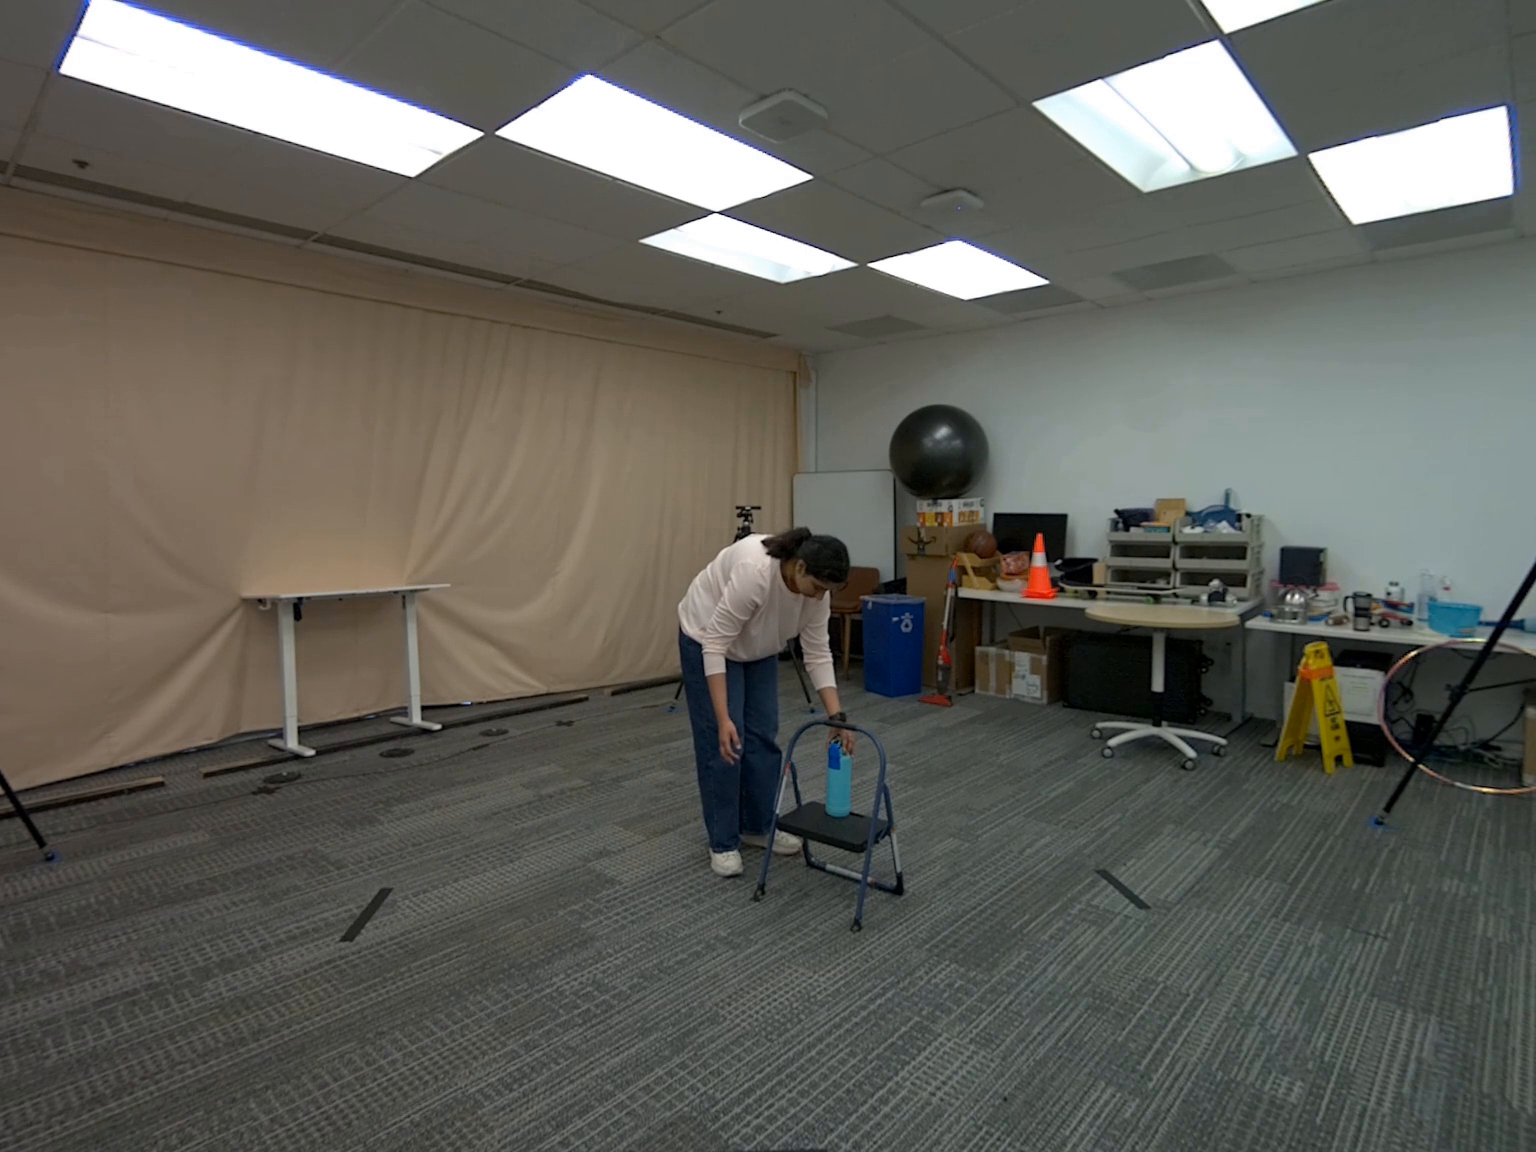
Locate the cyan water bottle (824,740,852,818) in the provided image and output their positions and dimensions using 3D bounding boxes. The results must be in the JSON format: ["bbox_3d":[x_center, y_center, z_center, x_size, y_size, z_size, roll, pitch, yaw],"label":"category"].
[{"bbox_3d":[0.258,0.738,3.082,0.092,0.283,0.092,-2,2,-2],"label":"cyan water bottle"}]
